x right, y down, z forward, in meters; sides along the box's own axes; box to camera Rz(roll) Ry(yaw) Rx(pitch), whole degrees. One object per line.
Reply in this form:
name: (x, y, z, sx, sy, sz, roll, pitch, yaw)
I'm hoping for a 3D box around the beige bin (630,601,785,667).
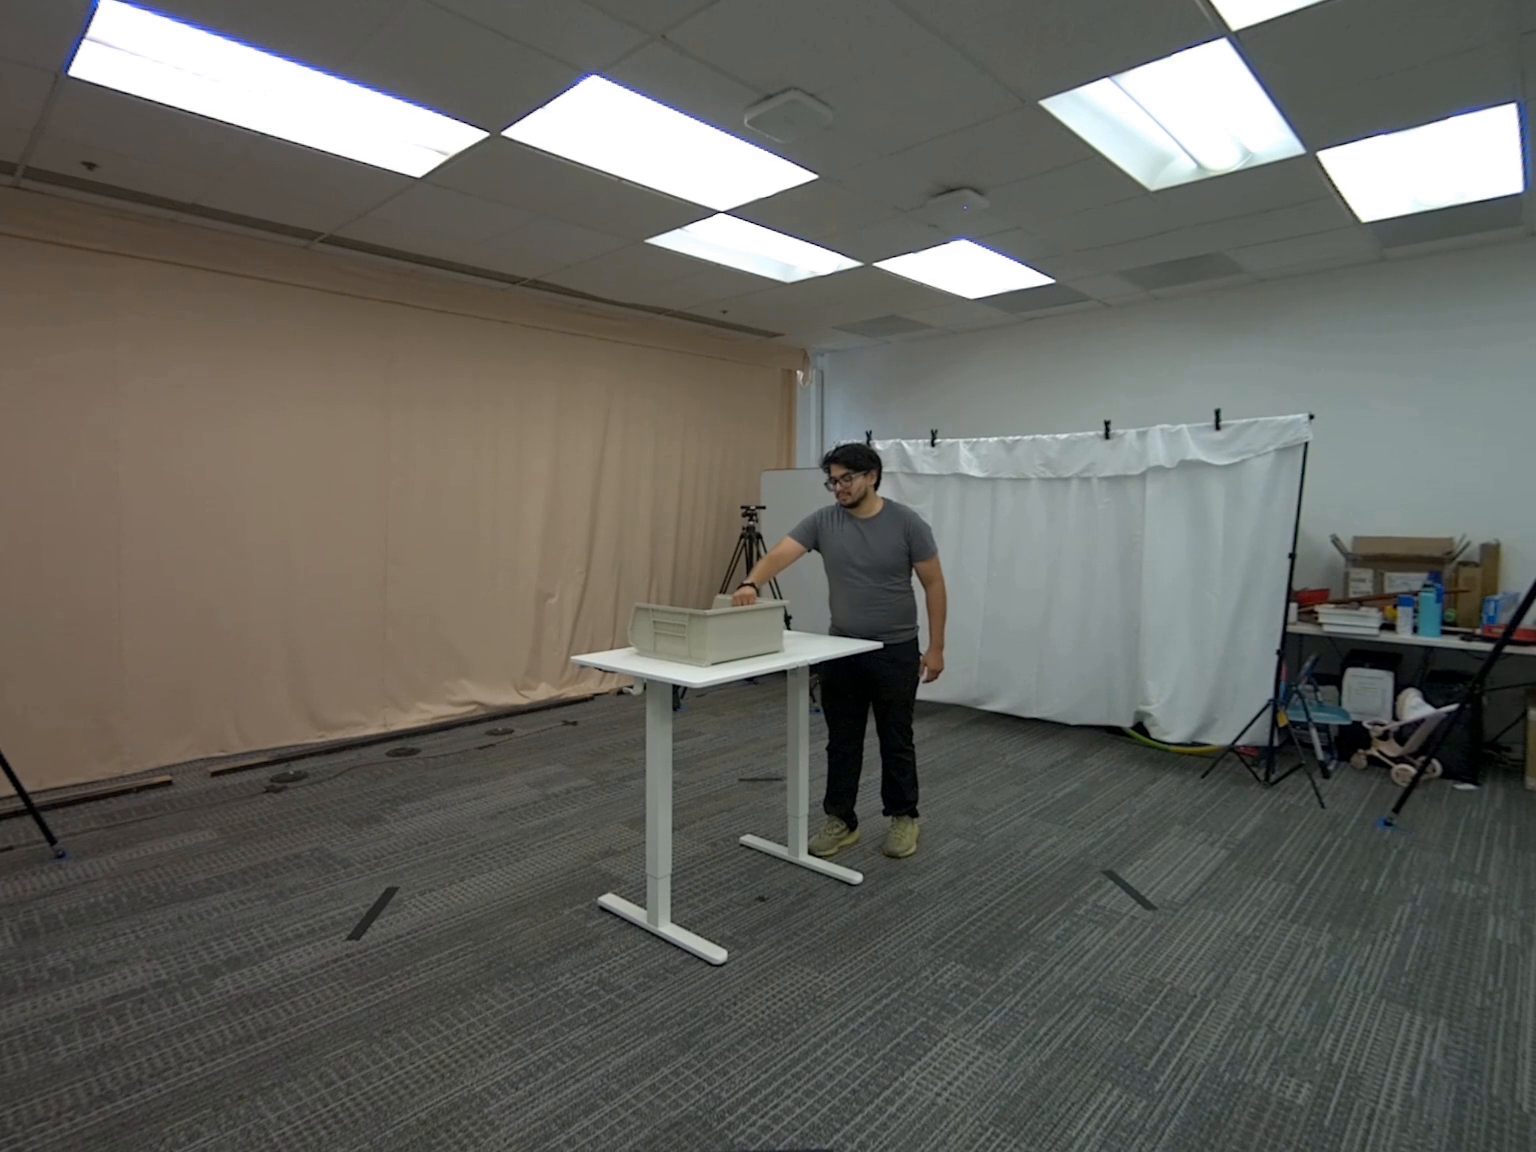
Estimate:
beige bin: (-0.206, 0.177, 2.907, 0.390, 0.188, 0.409, 6, 7, 41)
